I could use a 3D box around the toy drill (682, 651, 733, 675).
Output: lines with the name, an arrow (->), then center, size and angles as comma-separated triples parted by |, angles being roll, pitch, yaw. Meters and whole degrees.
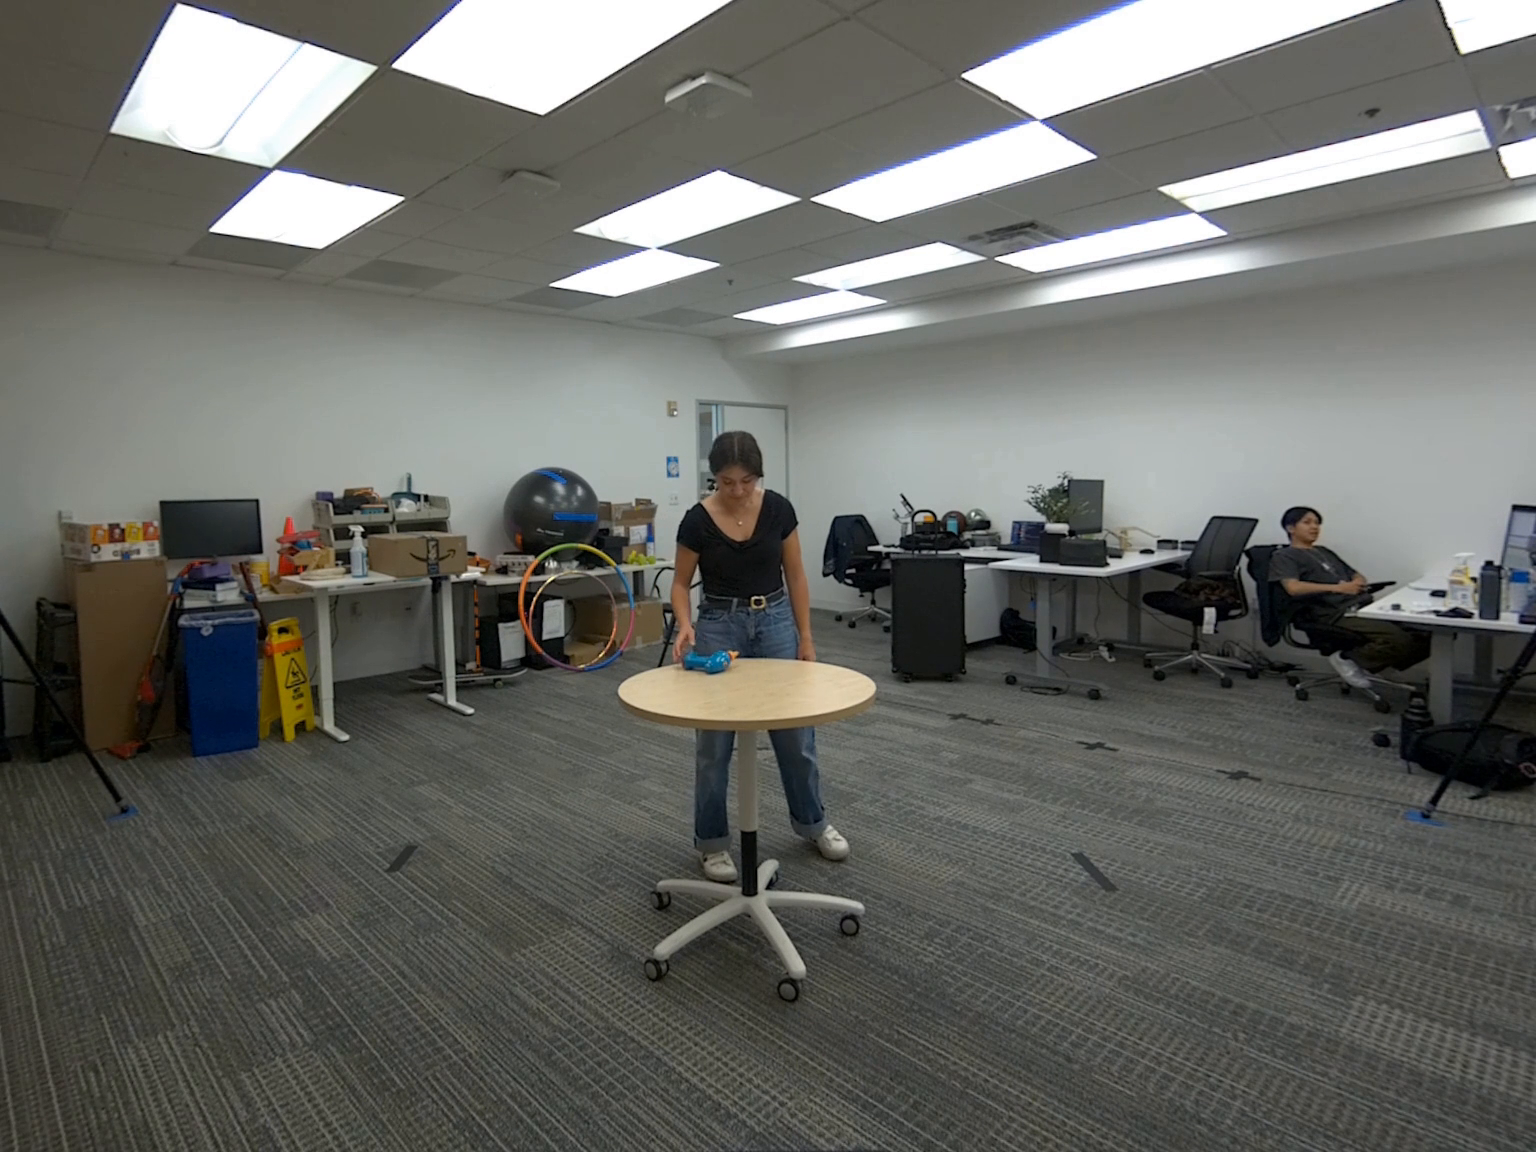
toy drill -> -0.192, 0.278, 2.786 | 0.150, 0.060, 0.167 | 1, 15, 37
